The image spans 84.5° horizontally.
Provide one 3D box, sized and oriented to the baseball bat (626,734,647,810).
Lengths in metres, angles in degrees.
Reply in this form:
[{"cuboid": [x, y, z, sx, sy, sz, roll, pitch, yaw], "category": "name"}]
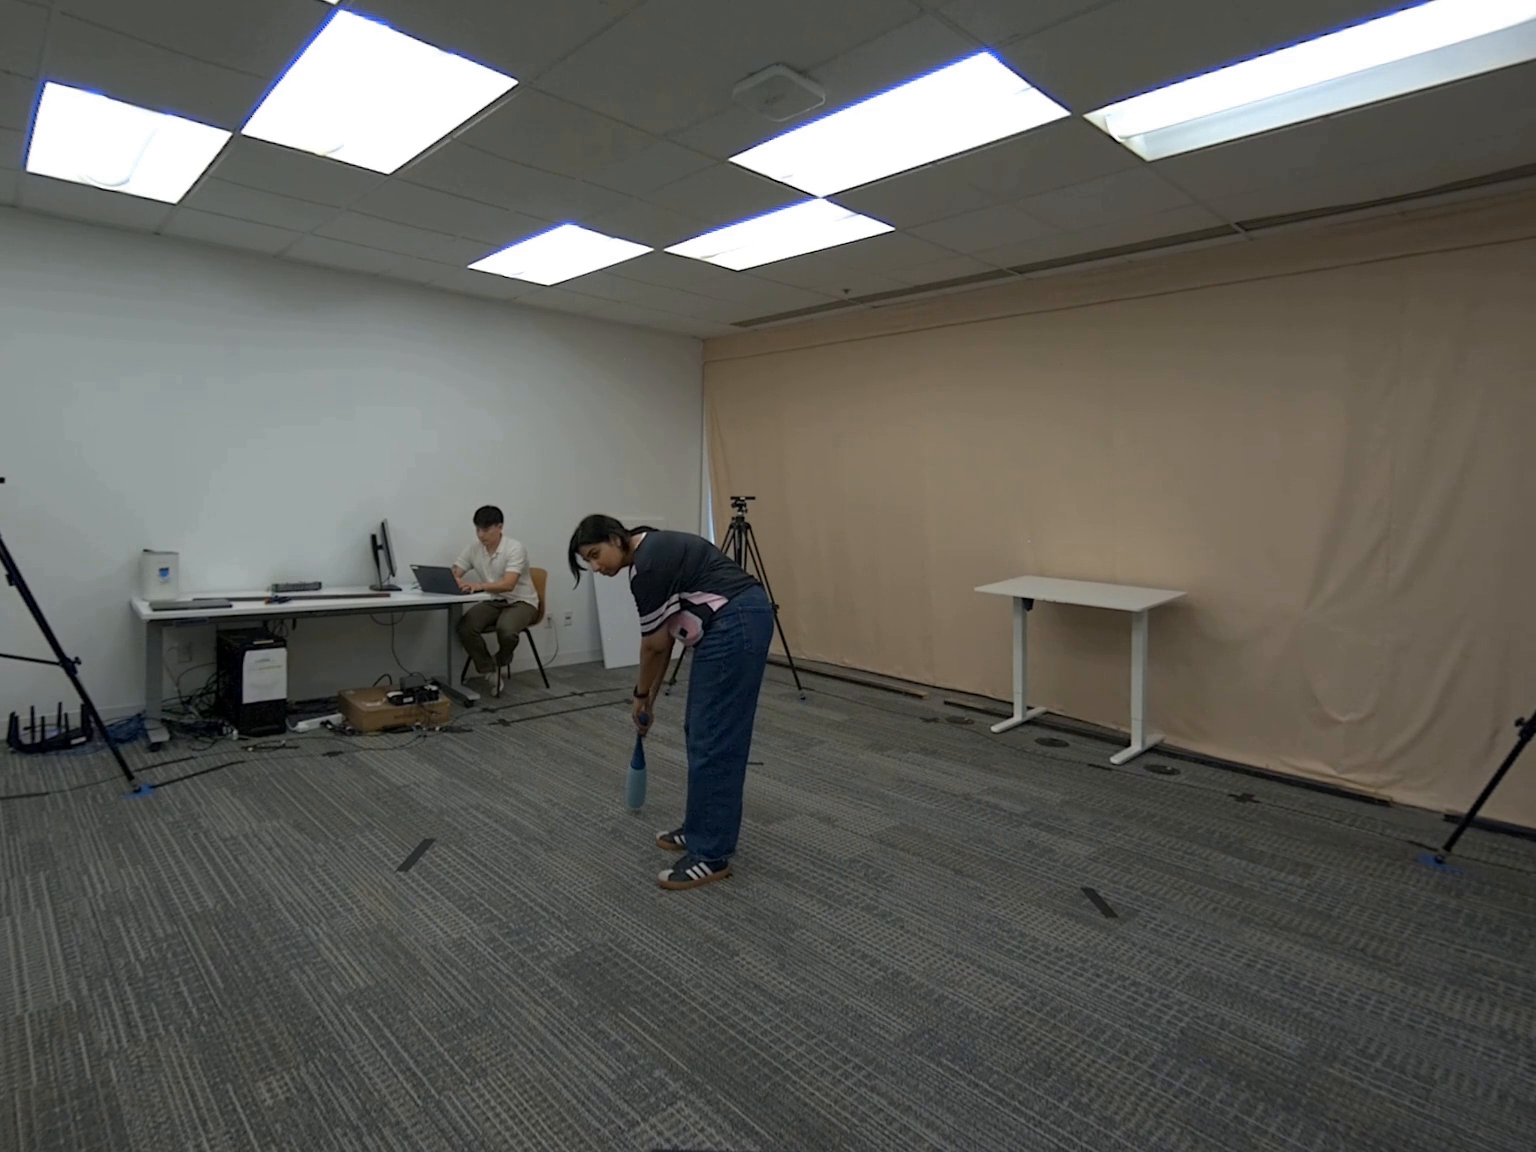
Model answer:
[{"cuboid": [-0.563, 0.786, 3.560, 0.089, 0.534, 0.091, 6, 34, -6], "category": "baseball bat"}]
